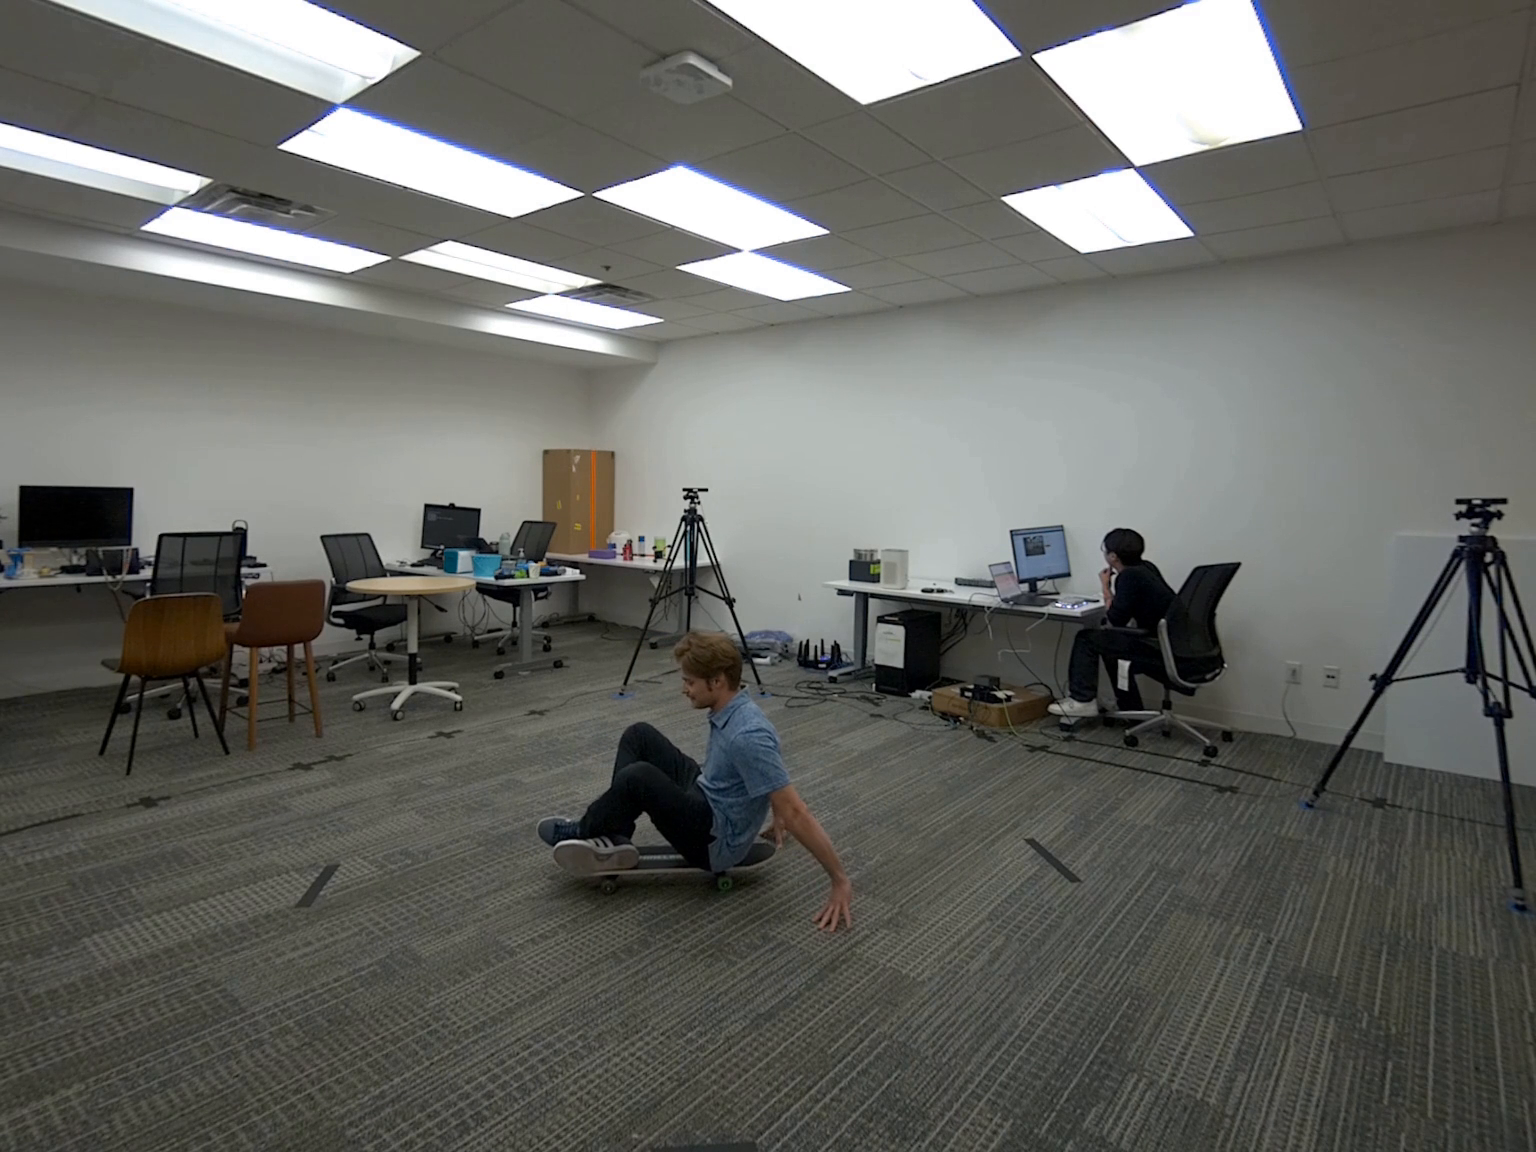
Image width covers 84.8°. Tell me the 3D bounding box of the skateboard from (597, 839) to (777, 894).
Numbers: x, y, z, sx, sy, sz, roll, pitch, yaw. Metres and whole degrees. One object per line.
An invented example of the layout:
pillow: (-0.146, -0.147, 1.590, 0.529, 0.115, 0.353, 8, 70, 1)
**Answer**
skateboard: (-0.386, 1.027, 2.998, 0.781, 0.110, 0.195, 2, 6, -5)
